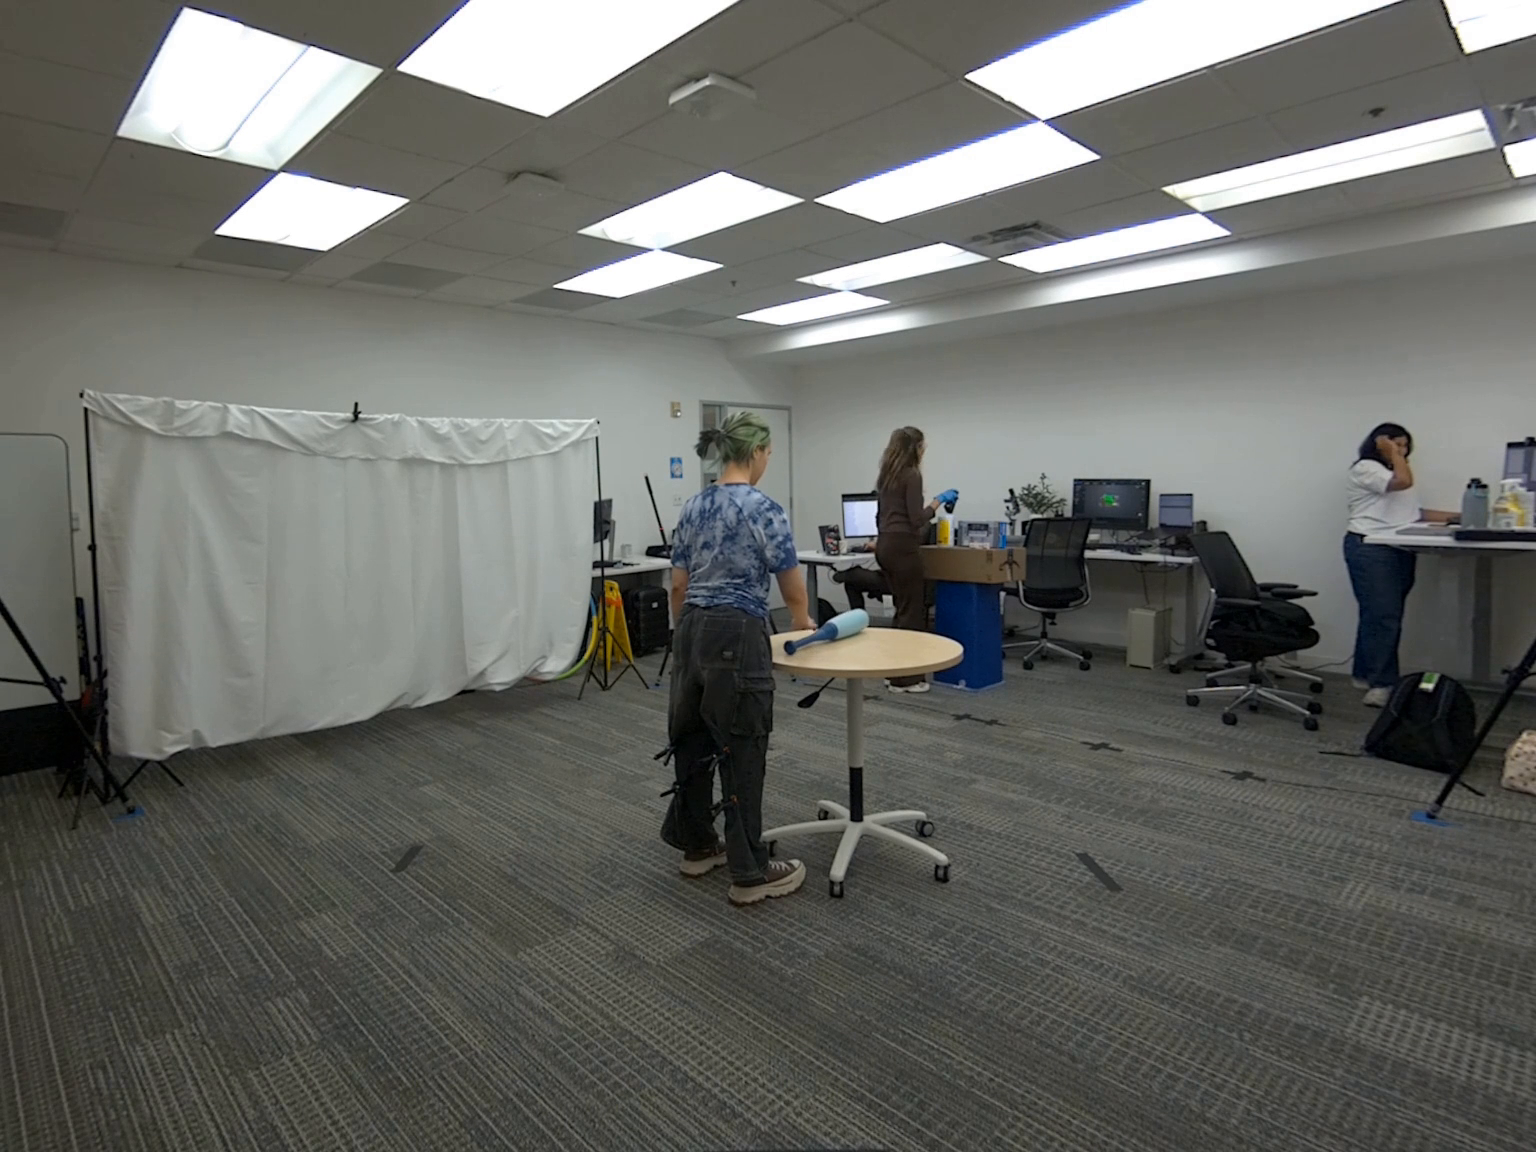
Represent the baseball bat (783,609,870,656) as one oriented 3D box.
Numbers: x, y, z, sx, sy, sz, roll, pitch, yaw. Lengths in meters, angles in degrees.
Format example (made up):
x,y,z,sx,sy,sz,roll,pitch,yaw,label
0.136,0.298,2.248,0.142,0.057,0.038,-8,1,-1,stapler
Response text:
x,y,z,sx,sy,sz,roll,pitch,yaw,label
0.218,0.213,3.190,0.091,0.088,0.531,2,10,36,baseball bat
